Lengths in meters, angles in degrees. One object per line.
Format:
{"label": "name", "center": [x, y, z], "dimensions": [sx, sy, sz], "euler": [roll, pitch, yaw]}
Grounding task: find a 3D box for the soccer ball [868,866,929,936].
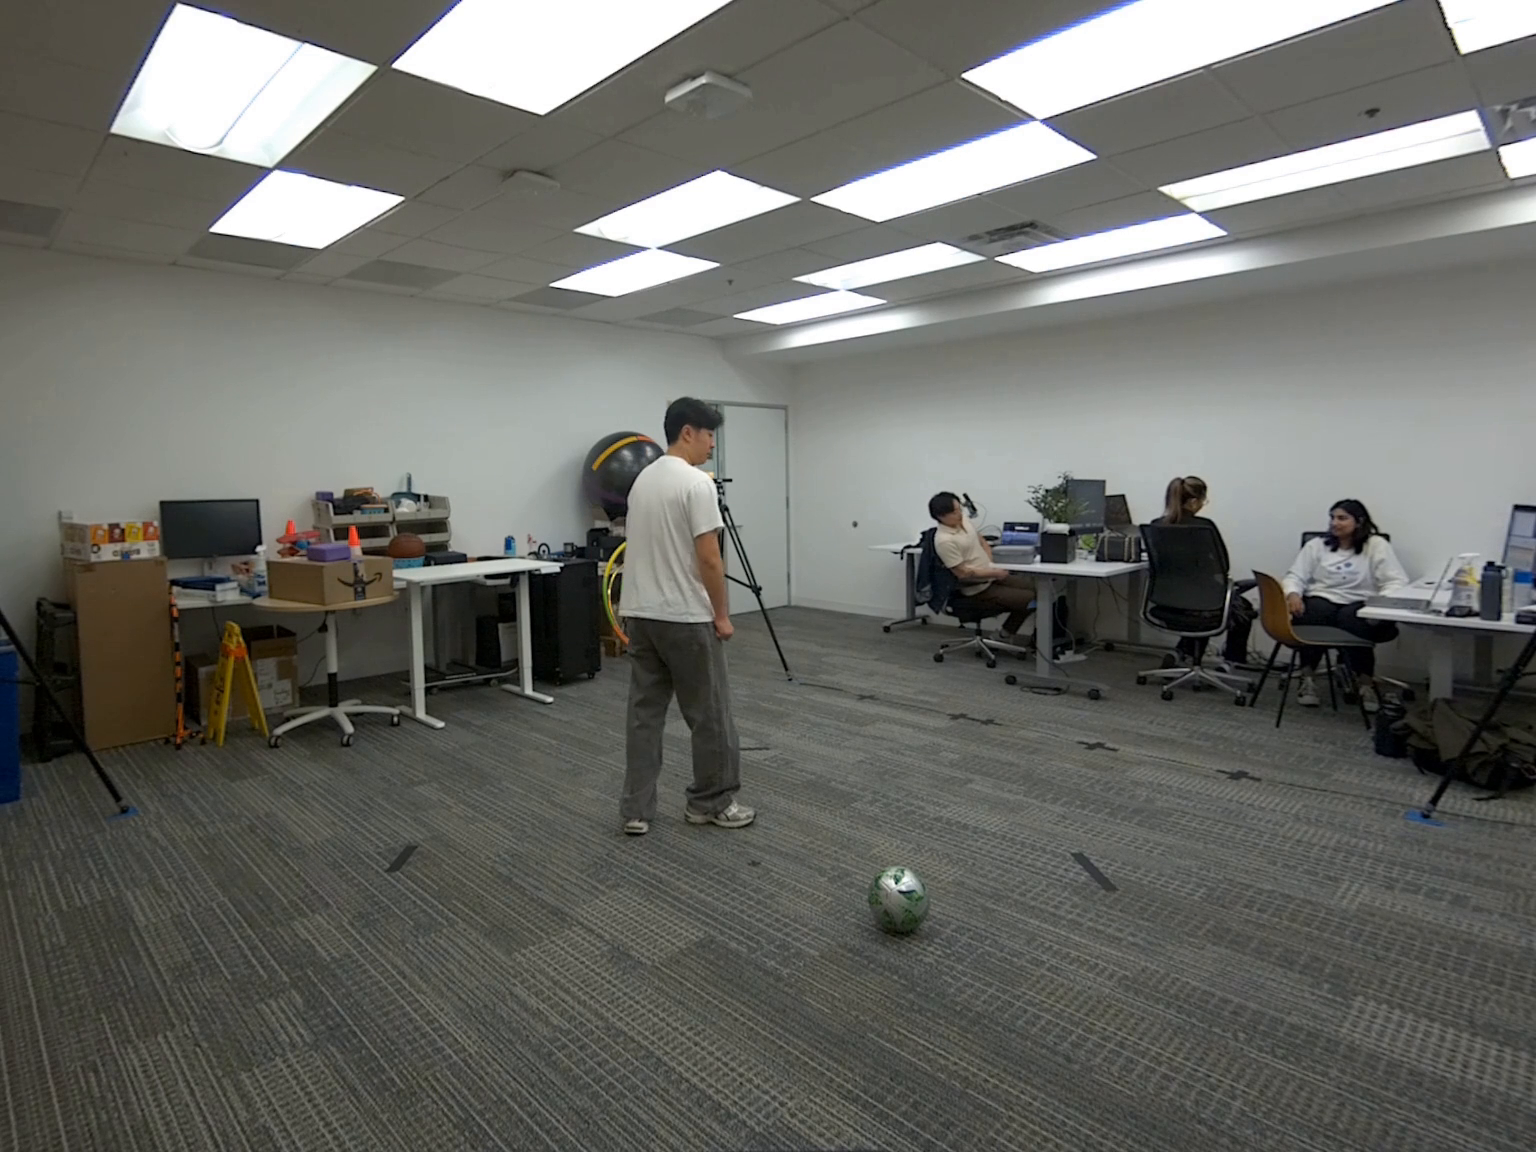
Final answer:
{"label": "soccer ball", "center": [0.411, 0.998, 2.644], "dimensions": [0.187, 0.187, 0.188], "euler": [-1, 5, -2]}
